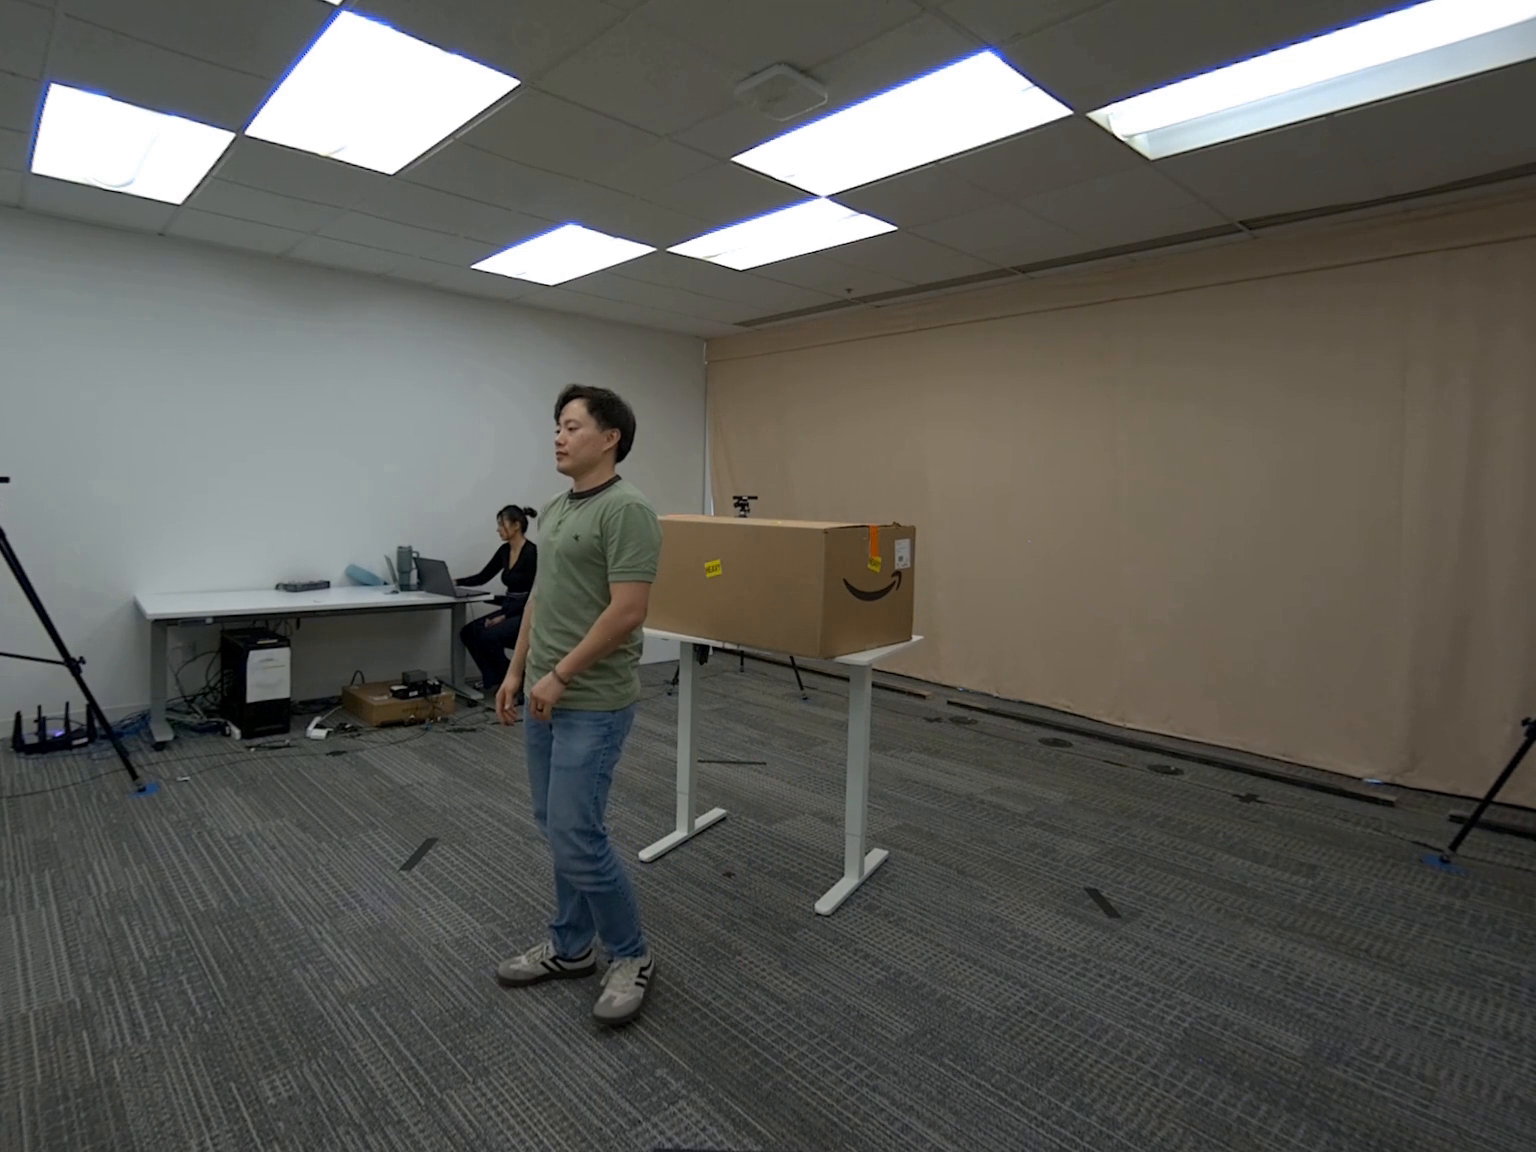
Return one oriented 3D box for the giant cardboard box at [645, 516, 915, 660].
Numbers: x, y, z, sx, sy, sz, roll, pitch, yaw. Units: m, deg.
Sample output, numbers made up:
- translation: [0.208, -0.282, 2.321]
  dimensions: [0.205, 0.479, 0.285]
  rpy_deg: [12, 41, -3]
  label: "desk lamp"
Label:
- translation: [-0.038, 0.002, 3.214]
  dimensions: [1.052, 0.425, 0.565]
  rpy_deg: [6, 7, 41]
  label: "giant cardboard box"
